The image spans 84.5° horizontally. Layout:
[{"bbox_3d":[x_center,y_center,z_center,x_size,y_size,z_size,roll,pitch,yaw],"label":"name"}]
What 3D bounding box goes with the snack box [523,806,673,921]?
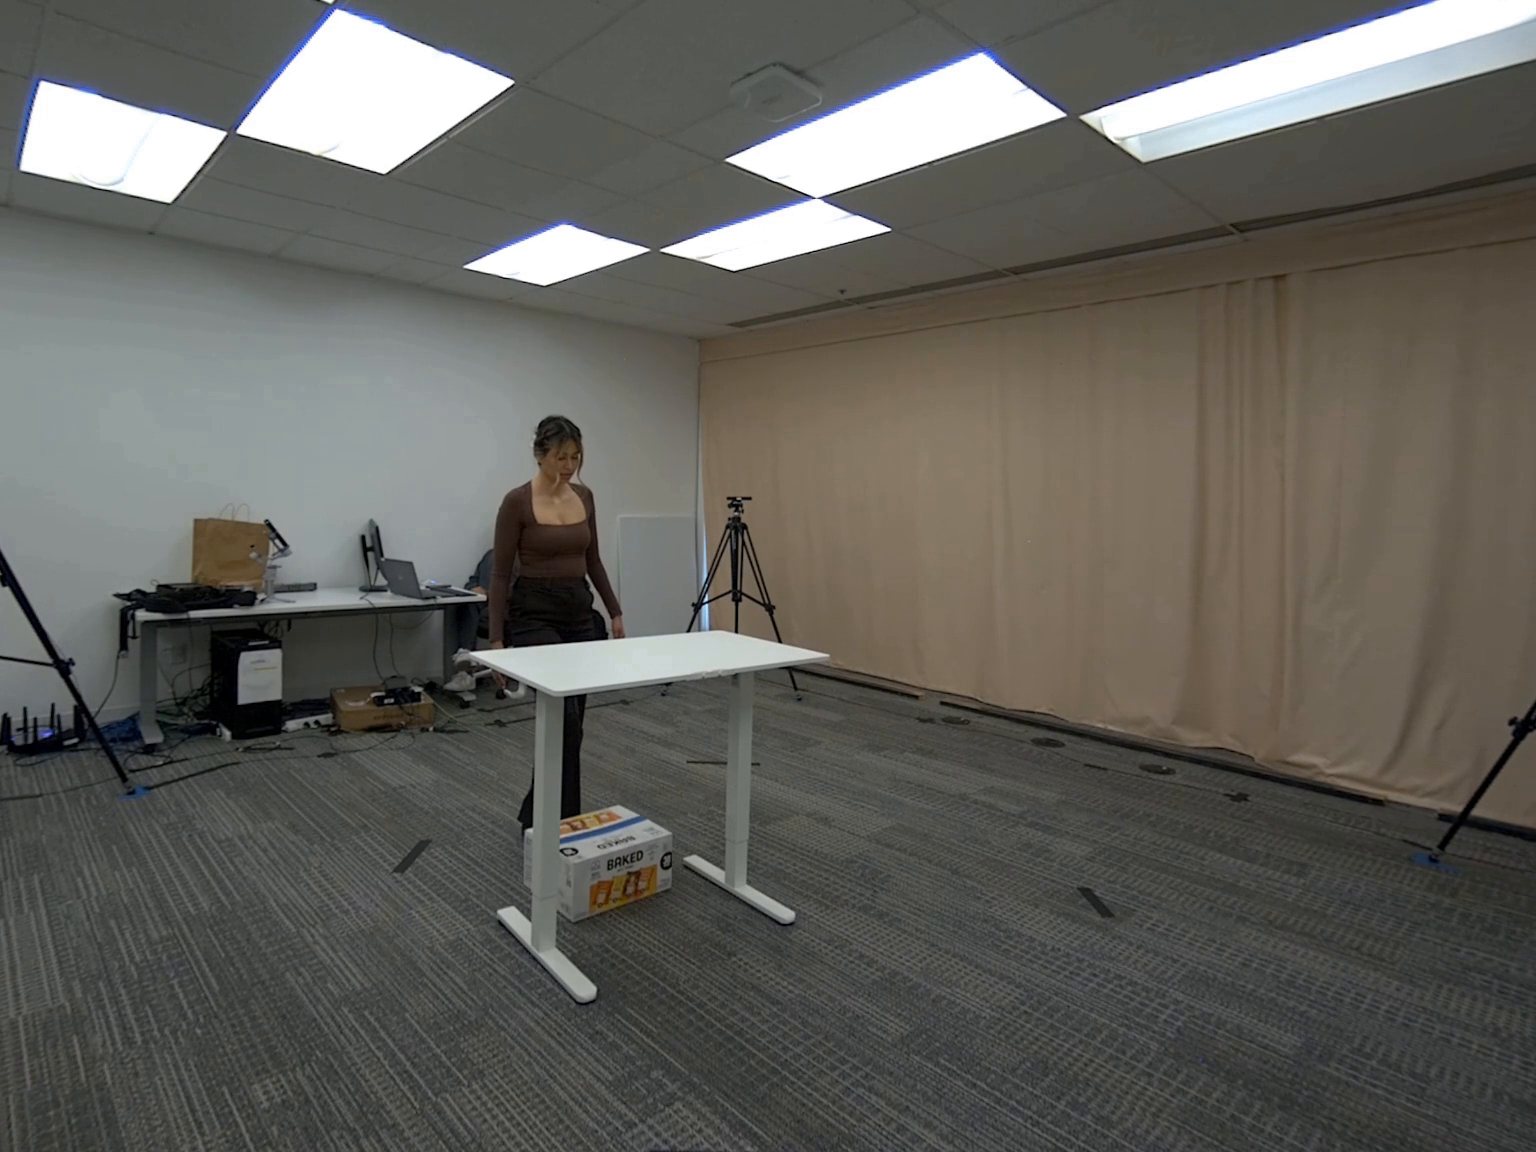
[{"bbox_3d":[-0.602,1.008,2.975,0.396,0.205,0.349,-3,6,-42],"label":"snack box"}]
